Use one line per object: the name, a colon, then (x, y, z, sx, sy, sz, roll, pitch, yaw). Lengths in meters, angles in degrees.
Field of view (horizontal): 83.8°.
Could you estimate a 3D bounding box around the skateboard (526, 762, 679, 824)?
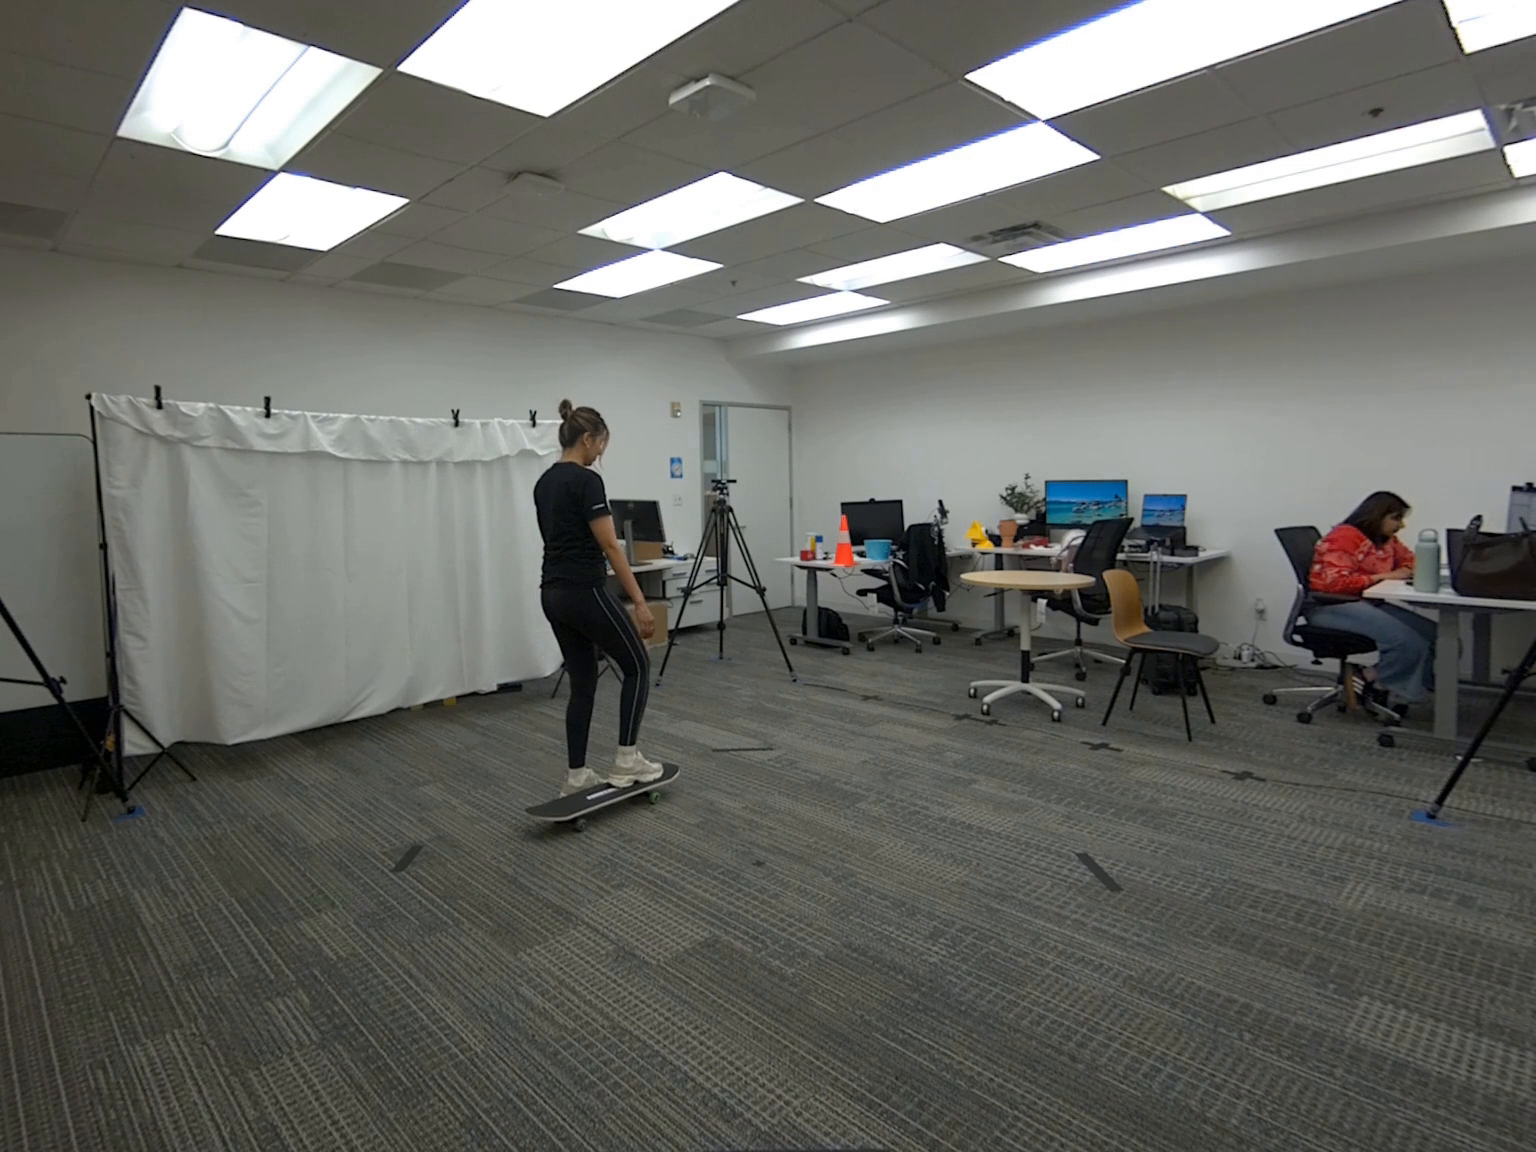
skateboard: (-0.679, 0.949, 3.624, 0.199, 0.110, 0.765, 2, 6, 42)
